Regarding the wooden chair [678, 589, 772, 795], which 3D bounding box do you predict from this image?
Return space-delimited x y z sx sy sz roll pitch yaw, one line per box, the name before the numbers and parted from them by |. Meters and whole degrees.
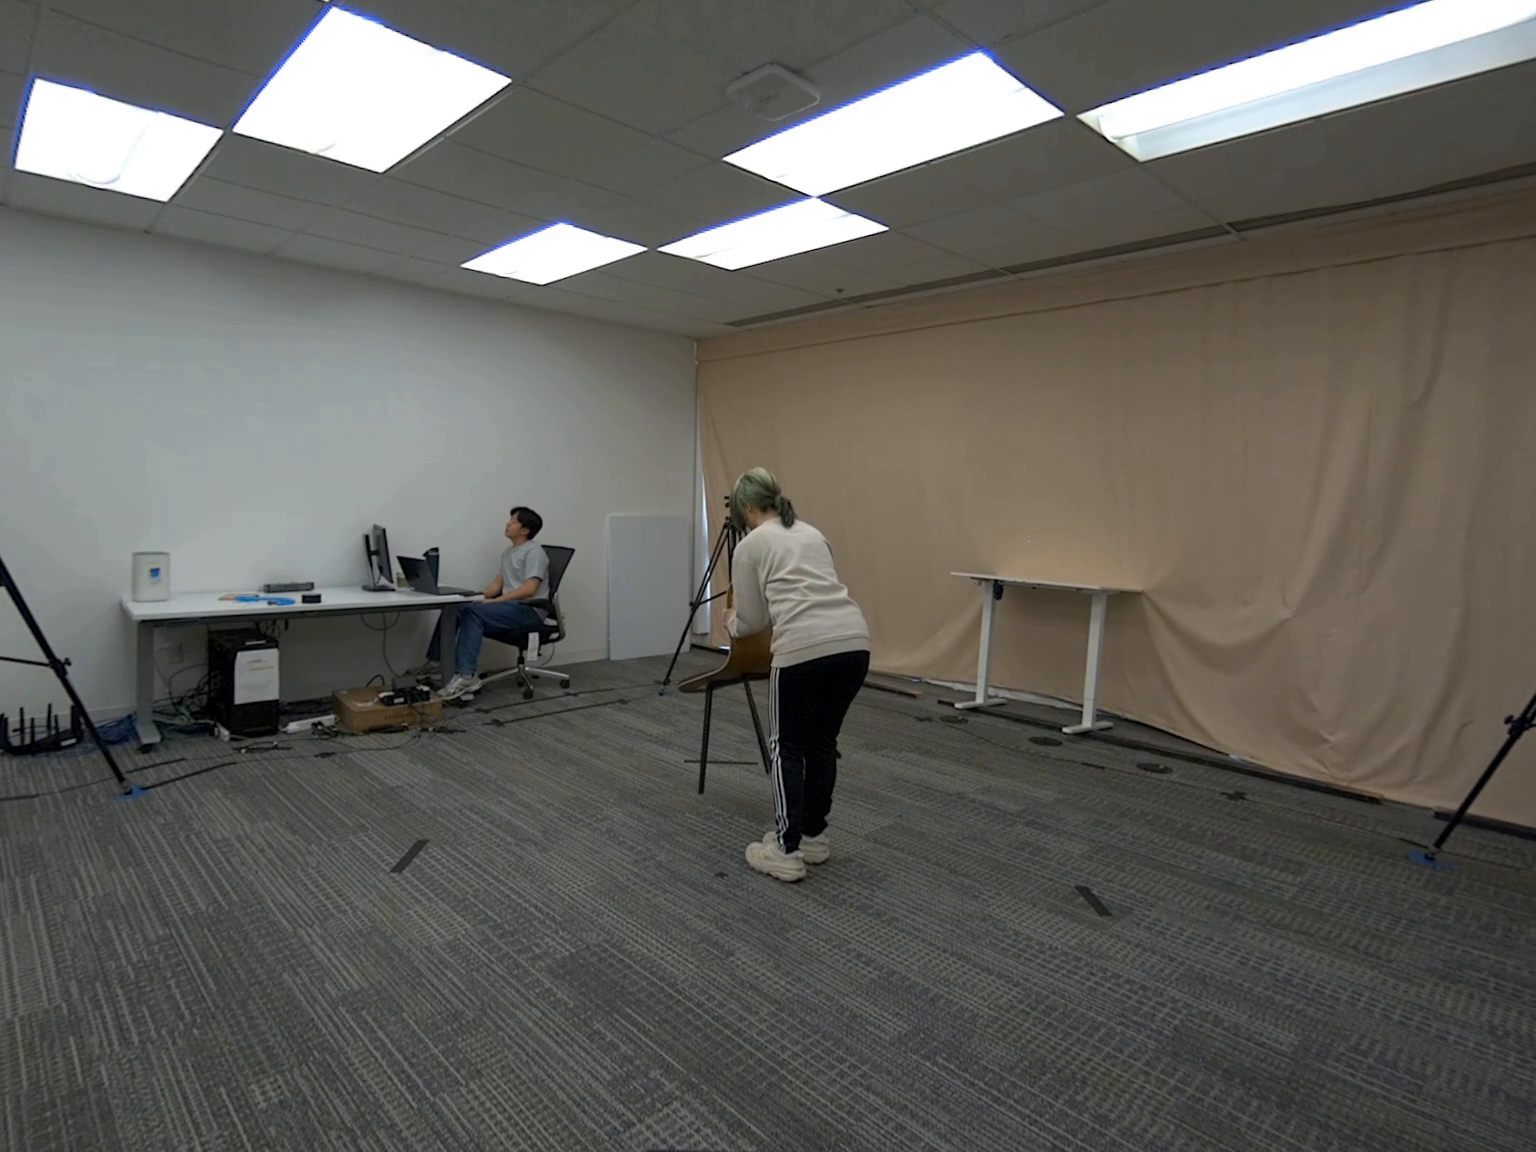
wooden chair | -0.113 0.464 3.714 0.531 0.885 0.467 -20 -12 41
